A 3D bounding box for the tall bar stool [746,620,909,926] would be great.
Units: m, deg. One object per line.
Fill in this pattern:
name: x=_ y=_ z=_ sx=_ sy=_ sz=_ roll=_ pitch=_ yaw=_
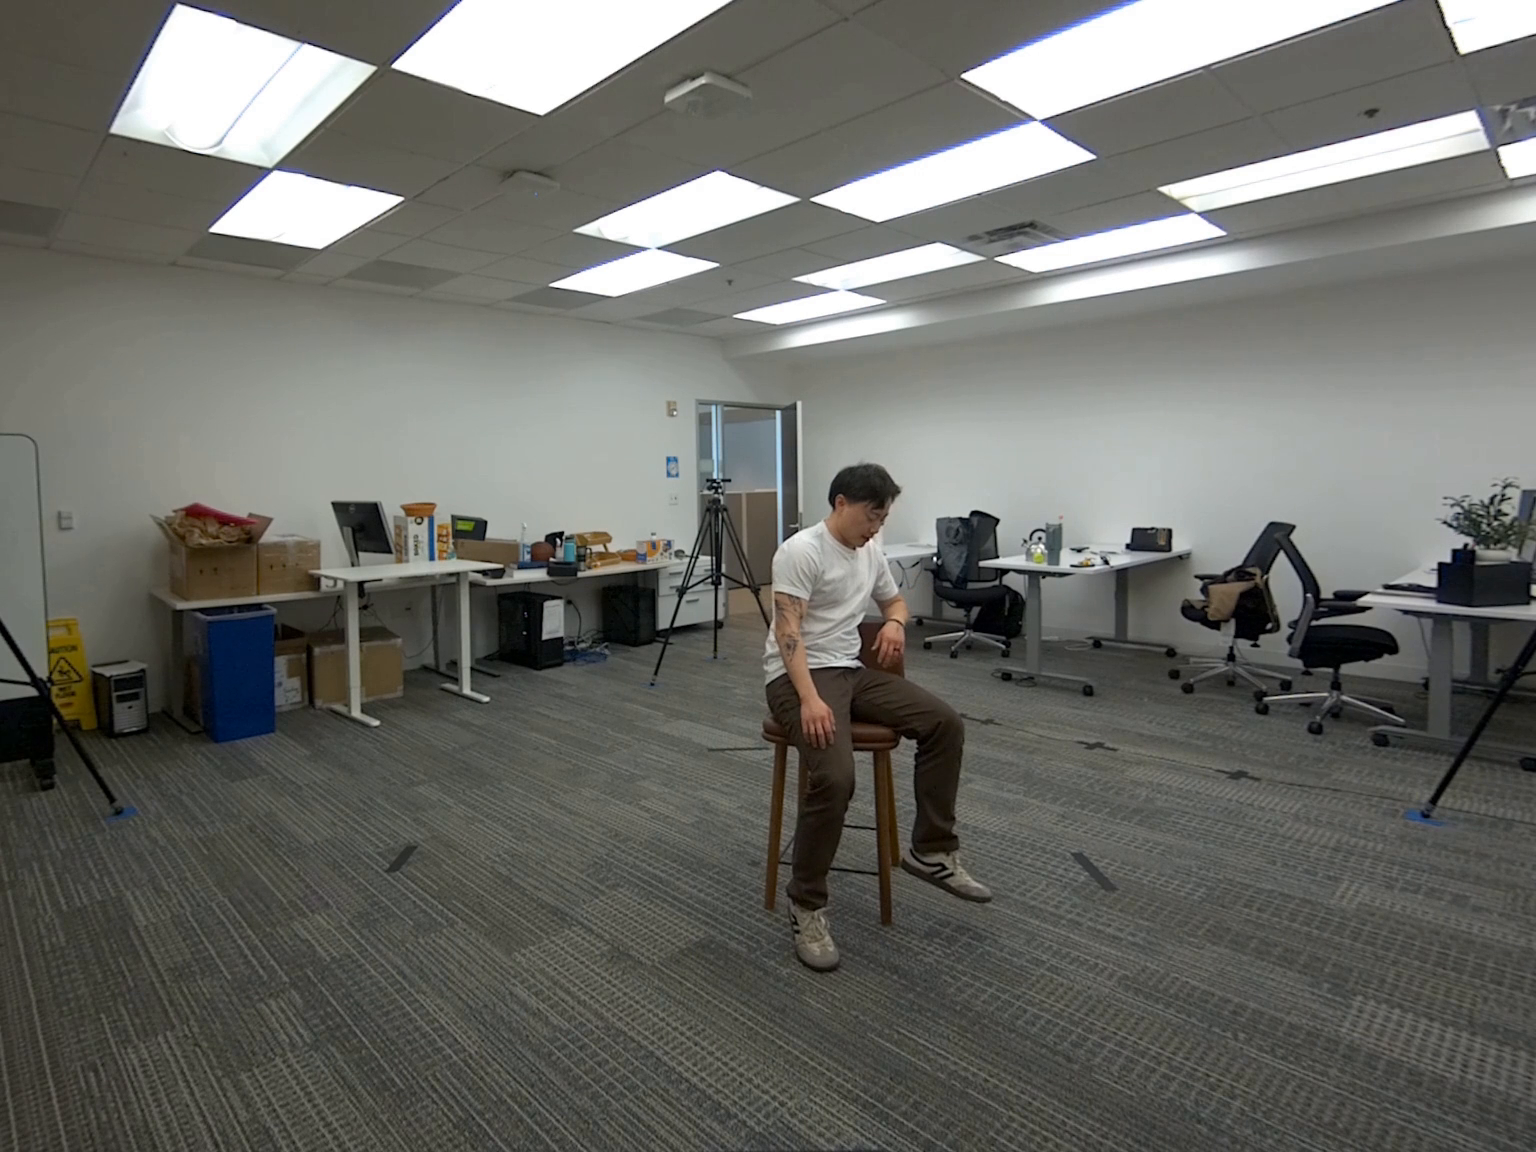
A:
tall bar stool: x=0.241 y=0.635 z=2.908 sx=0.464 sy=0.888 sz=0.461 roll=1 pitch=2 yaw=16
